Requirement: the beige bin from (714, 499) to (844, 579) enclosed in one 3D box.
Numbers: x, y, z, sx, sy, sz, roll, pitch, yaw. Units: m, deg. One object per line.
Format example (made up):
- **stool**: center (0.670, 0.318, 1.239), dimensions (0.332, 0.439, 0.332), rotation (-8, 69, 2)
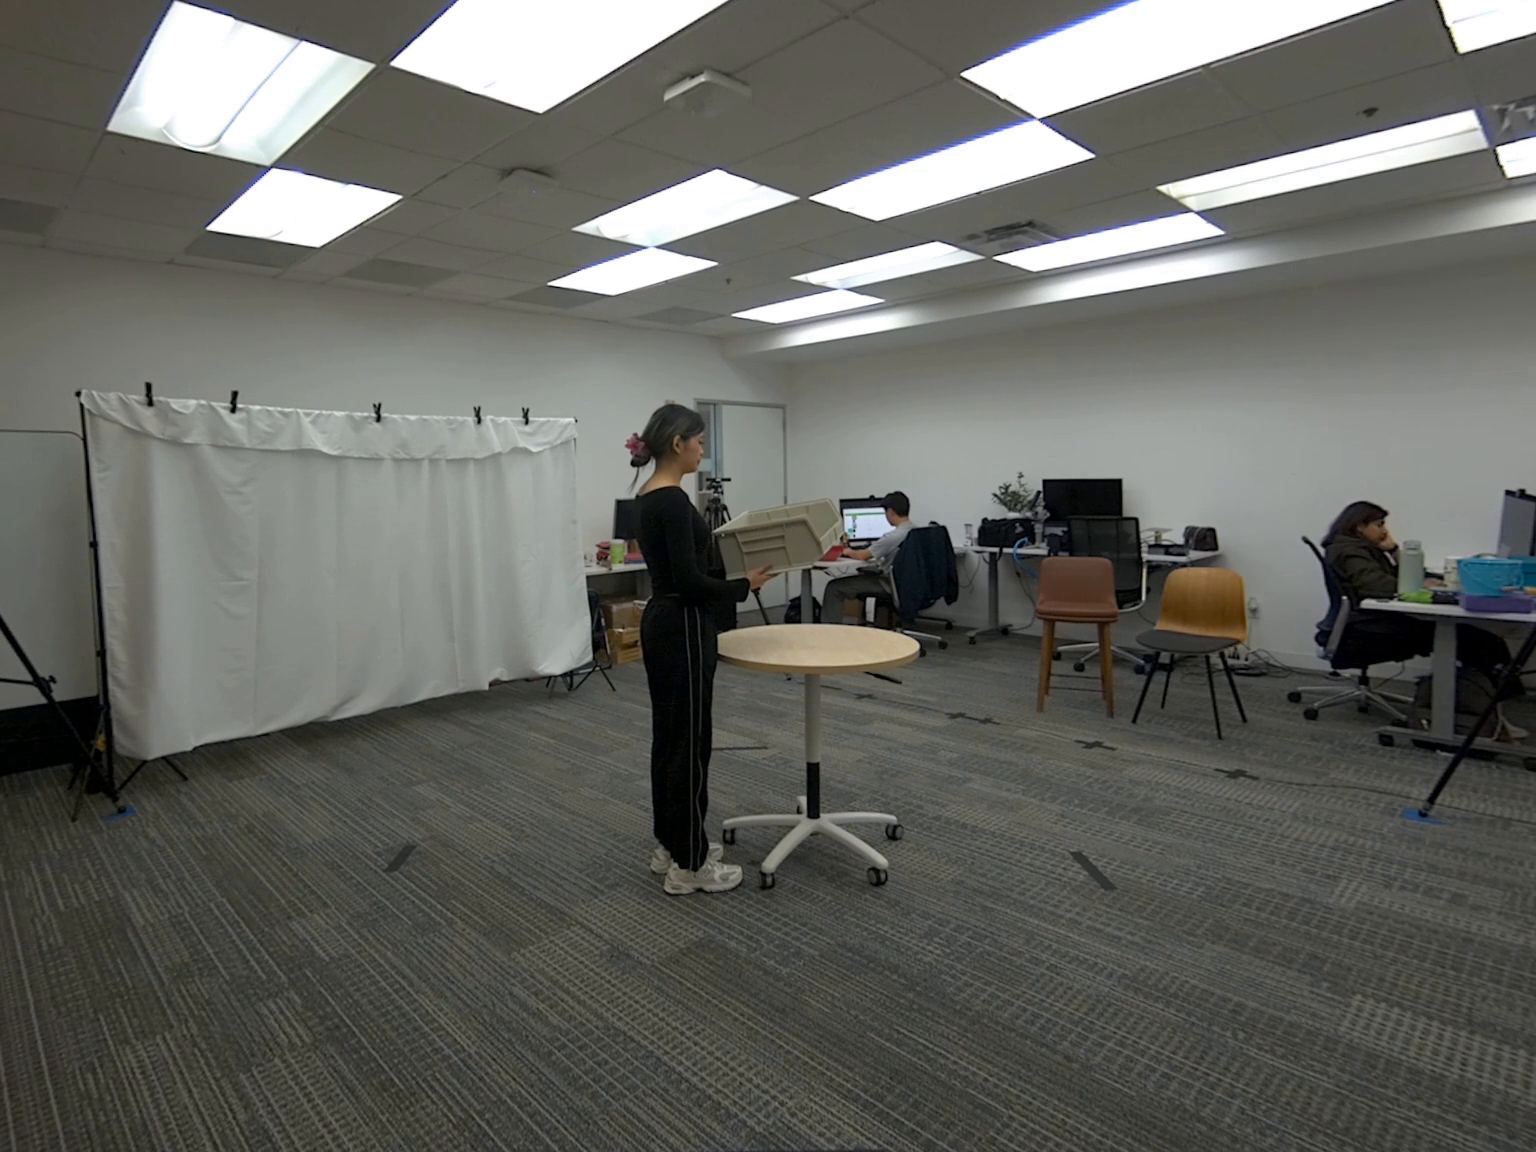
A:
- **beige bin**: center (0.060, -0.140, 3.129), dimensions (0.383, 0.187, 0.421), rotation (-11, 11, 18)
